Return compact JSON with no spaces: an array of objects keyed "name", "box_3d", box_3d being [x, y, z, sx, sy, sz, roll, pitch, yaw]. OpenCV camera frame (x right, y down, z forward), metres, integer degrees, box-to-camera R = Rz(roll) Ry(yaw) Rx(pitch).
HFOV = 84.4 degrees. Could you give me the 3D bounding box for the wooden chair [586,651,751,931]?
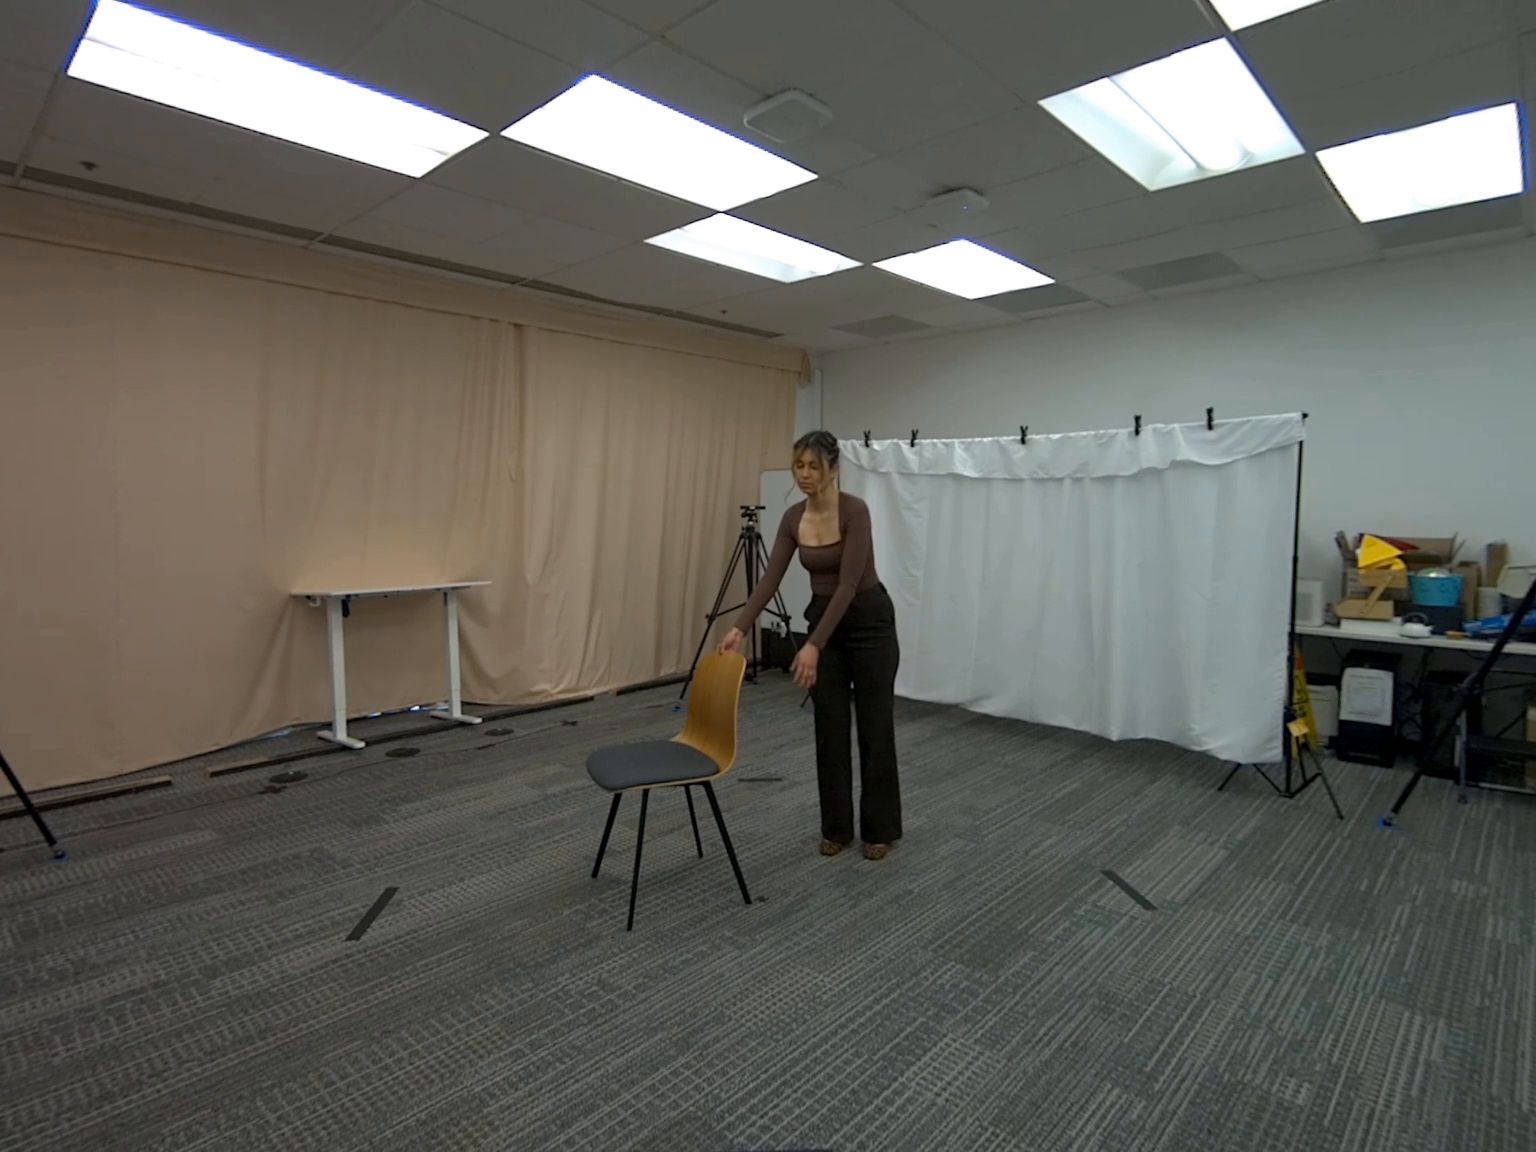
[{"name":"wooden chair","box_3d":[-0.368,0.717,3.022,0.510,0.876,0.491,3,2,-26]}]
